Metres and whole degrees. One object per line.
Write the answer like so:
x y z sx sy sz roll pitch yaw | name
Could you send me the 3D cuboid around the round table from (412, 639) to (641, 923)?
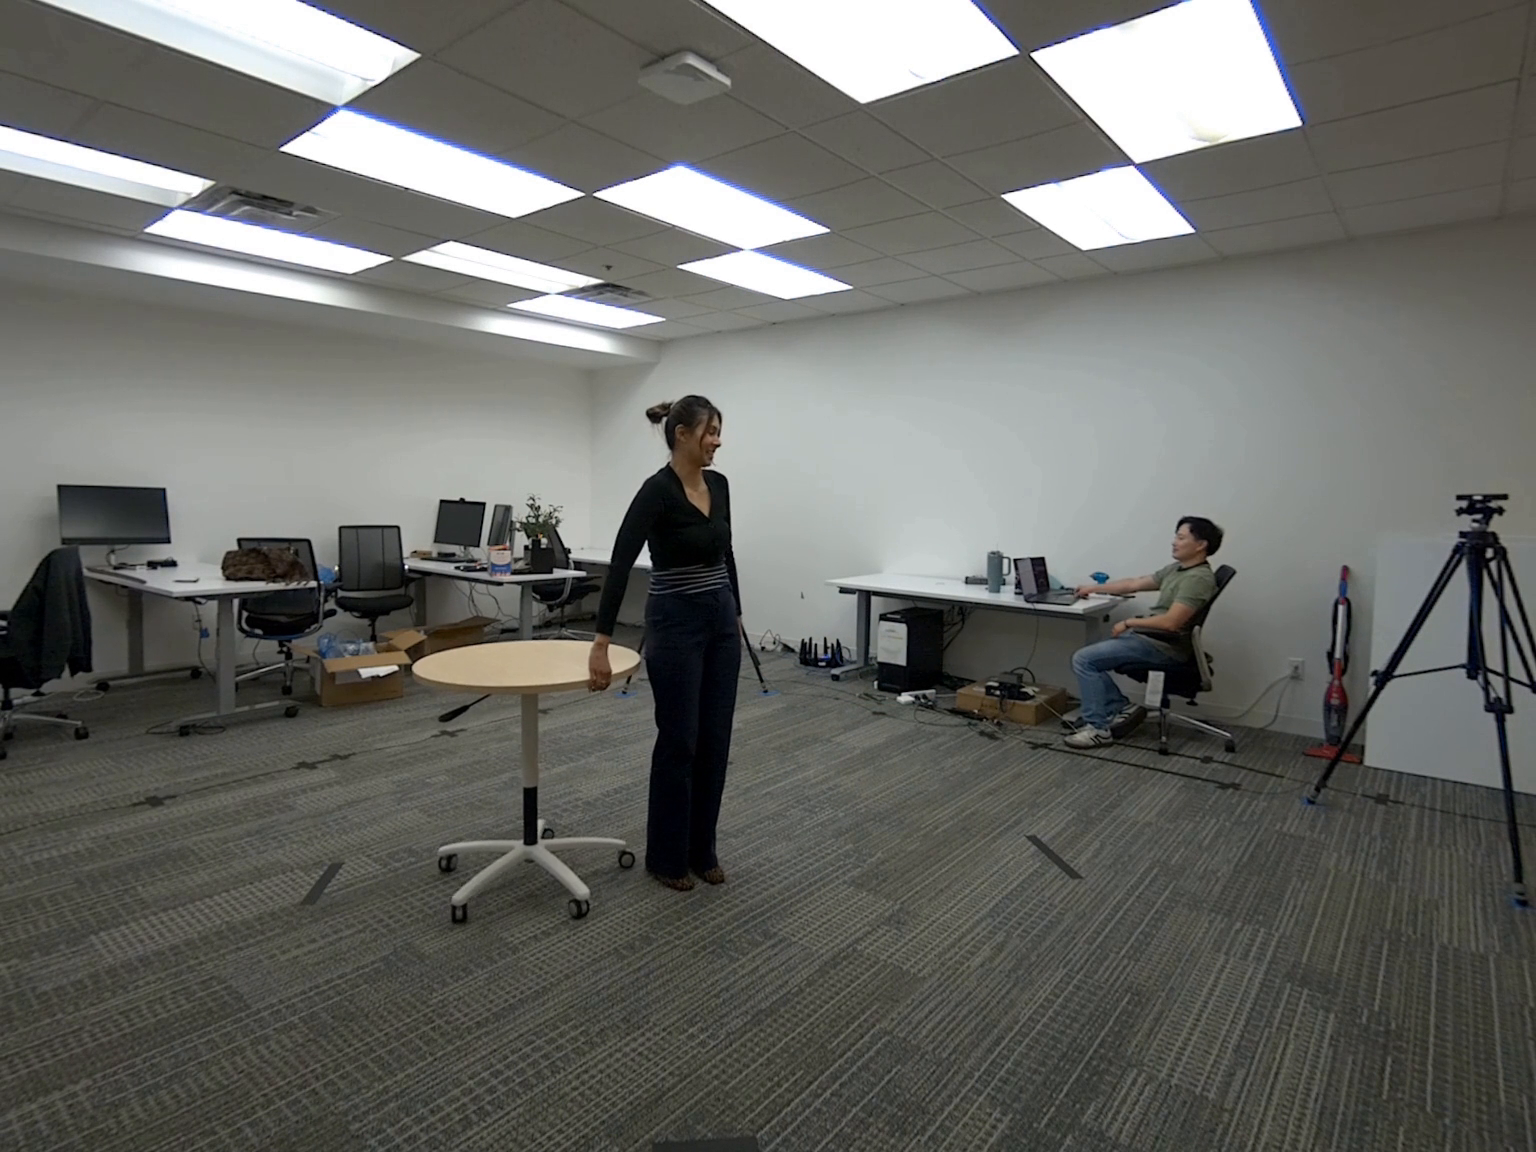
-0.835 0.684 2.964 0.763 0.791 0.768 0 5 -2 | round table
